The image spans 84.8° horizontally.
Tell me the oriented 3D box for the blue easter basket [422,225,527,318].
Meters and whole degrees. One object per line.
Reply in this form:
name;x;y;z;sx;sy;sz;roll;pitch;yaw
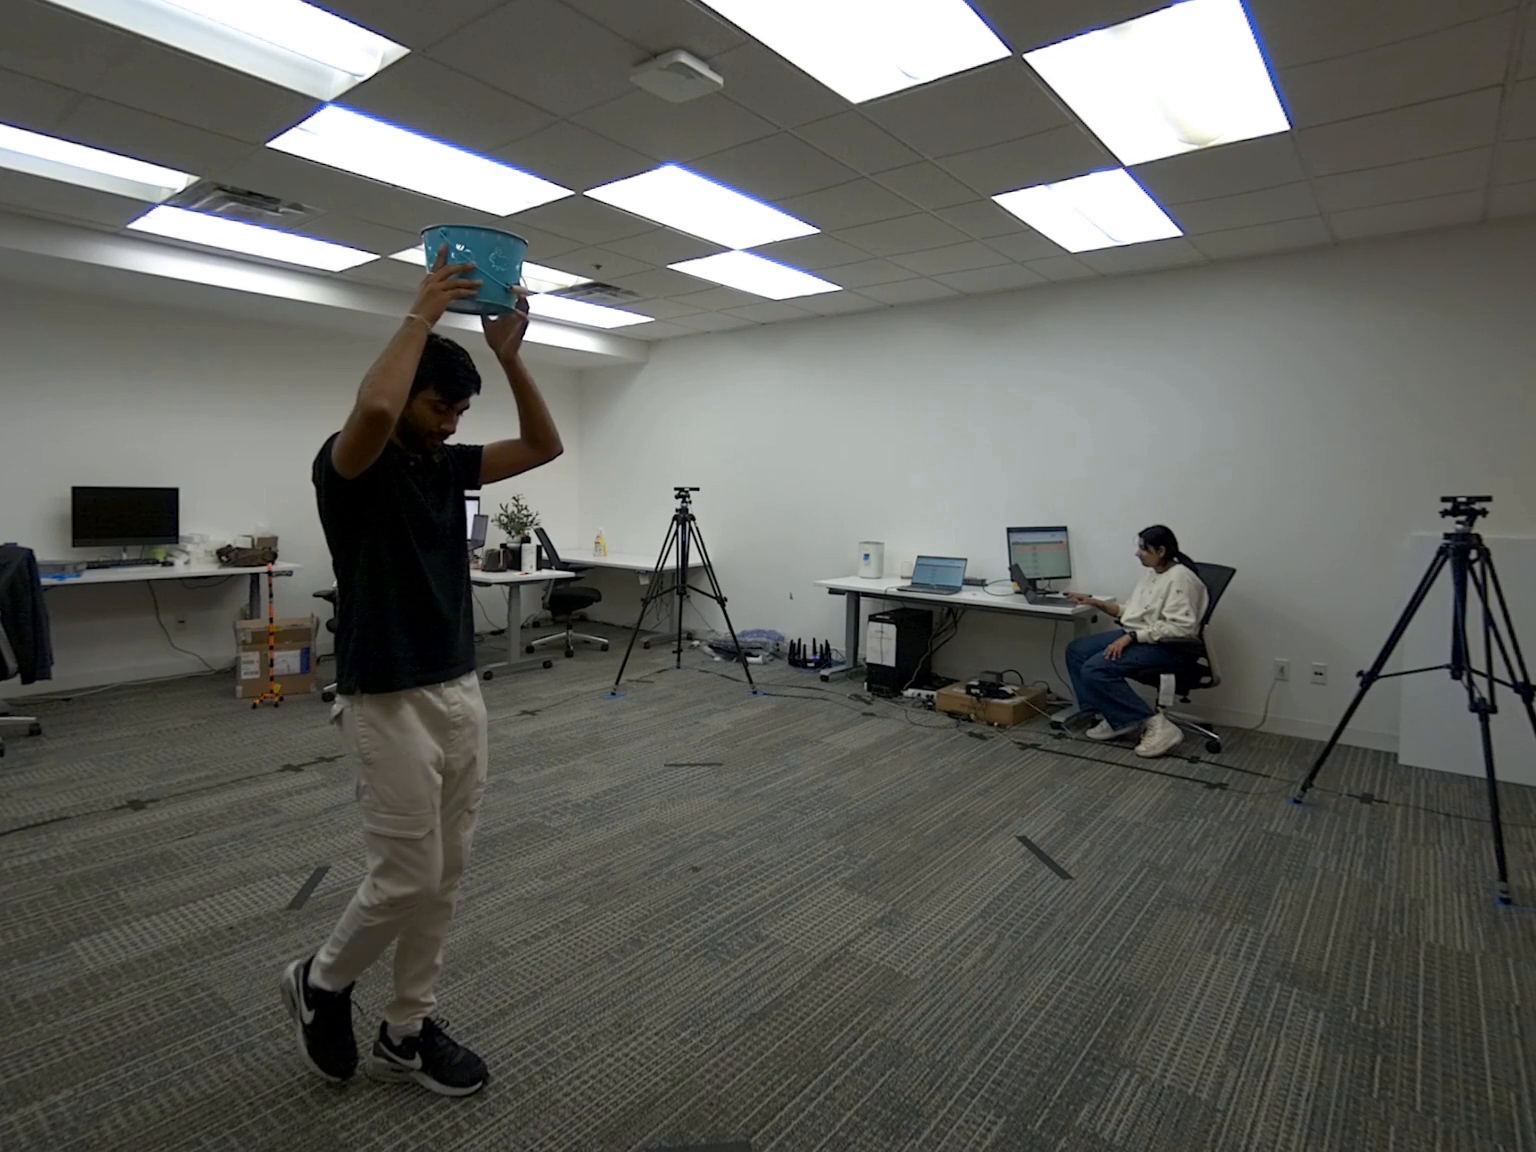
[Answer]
blue easter basket;-0.665;-0.679;1.885;0.243;0.155;0.245;0;6;-2
